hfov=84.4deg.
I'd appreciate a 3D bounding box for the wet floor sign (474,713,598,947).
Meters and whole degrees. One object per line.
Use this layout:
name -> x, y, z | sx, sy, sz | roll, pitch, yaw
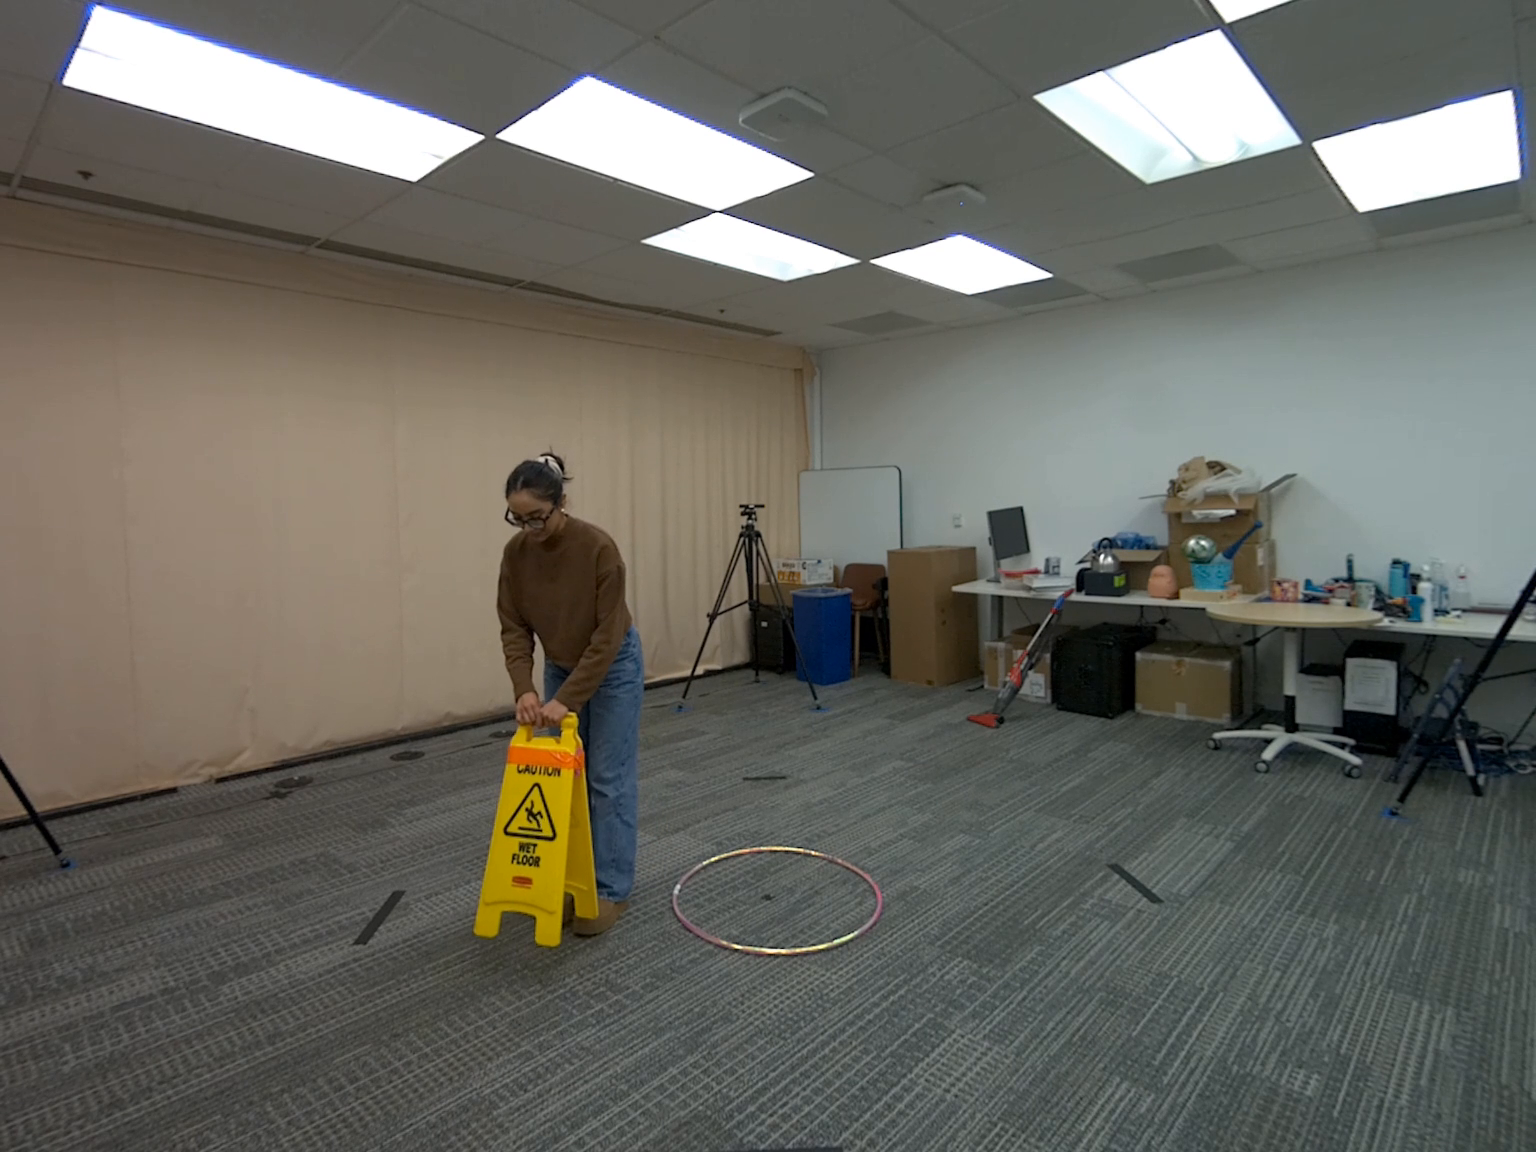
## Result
wet floor sign -> -0.689, 0.740, 2.597 | 0.287, 0.648, 0.284 | -2, -6, 15
